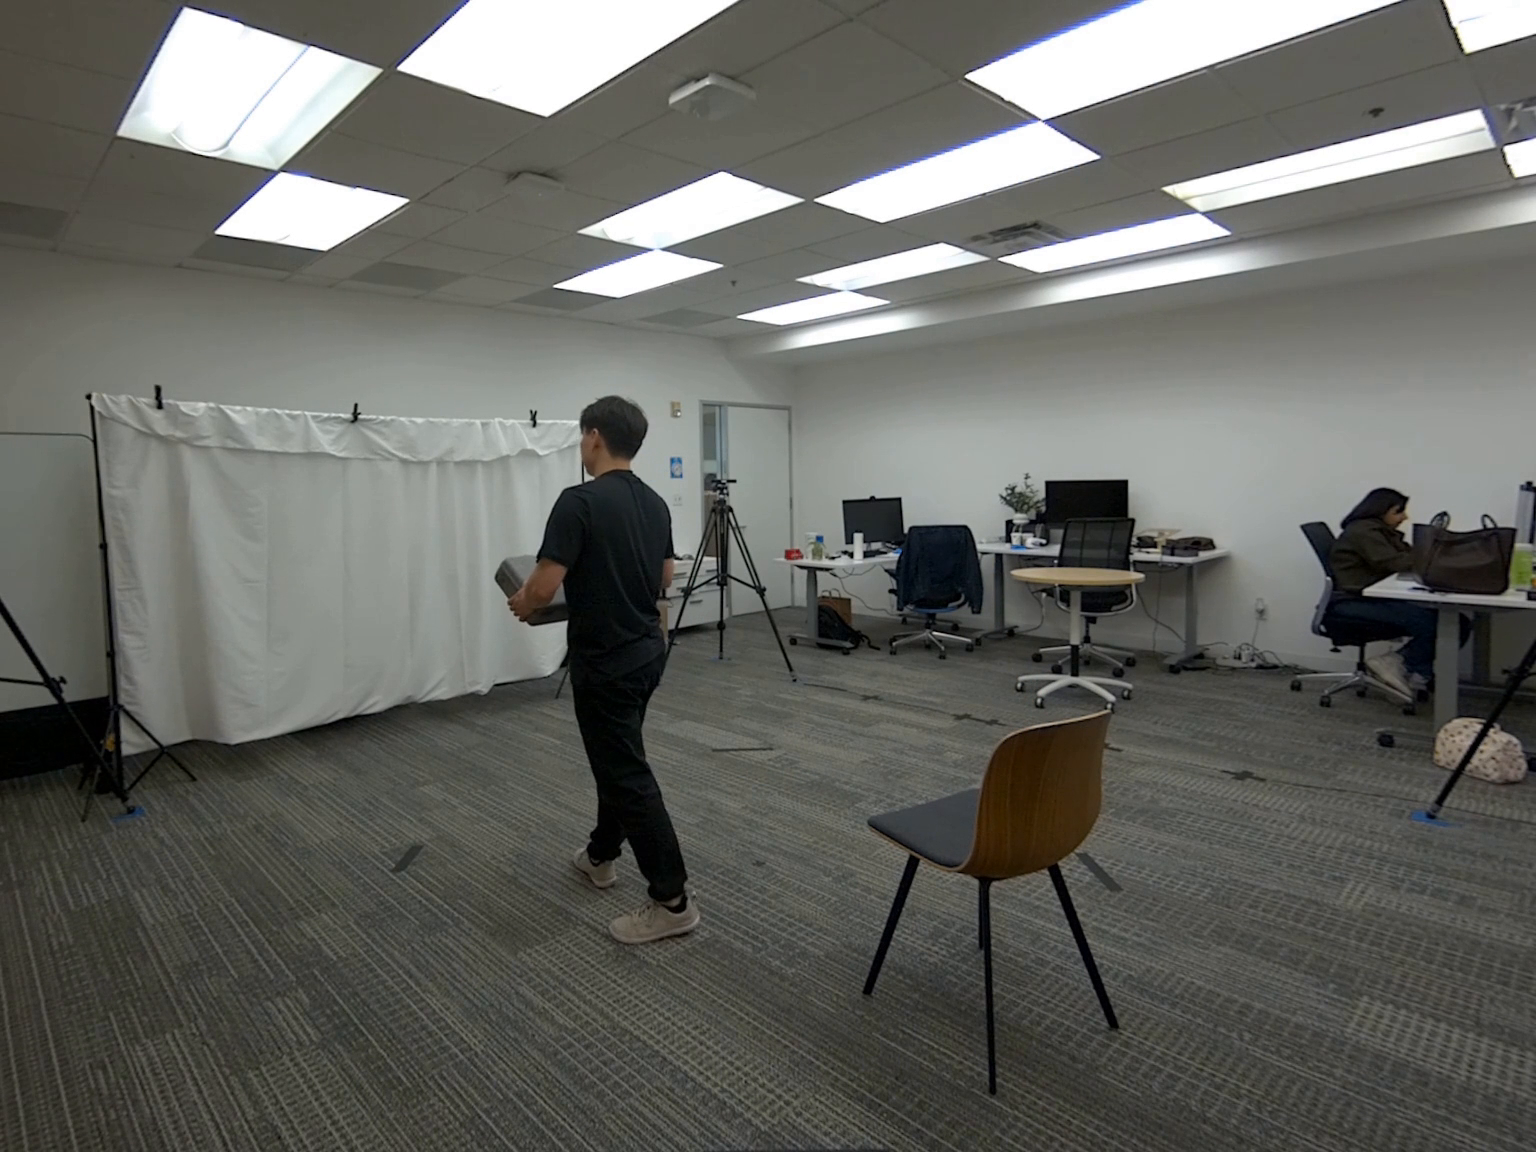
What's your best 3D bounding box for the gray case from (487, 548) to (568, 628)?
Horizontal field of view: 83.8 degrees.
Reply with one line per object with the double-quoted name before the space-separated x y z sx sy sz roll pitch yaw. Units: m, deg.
"gray case" -0.763 0.032 2.915 0.268 0.104 0.250 44 24 23
